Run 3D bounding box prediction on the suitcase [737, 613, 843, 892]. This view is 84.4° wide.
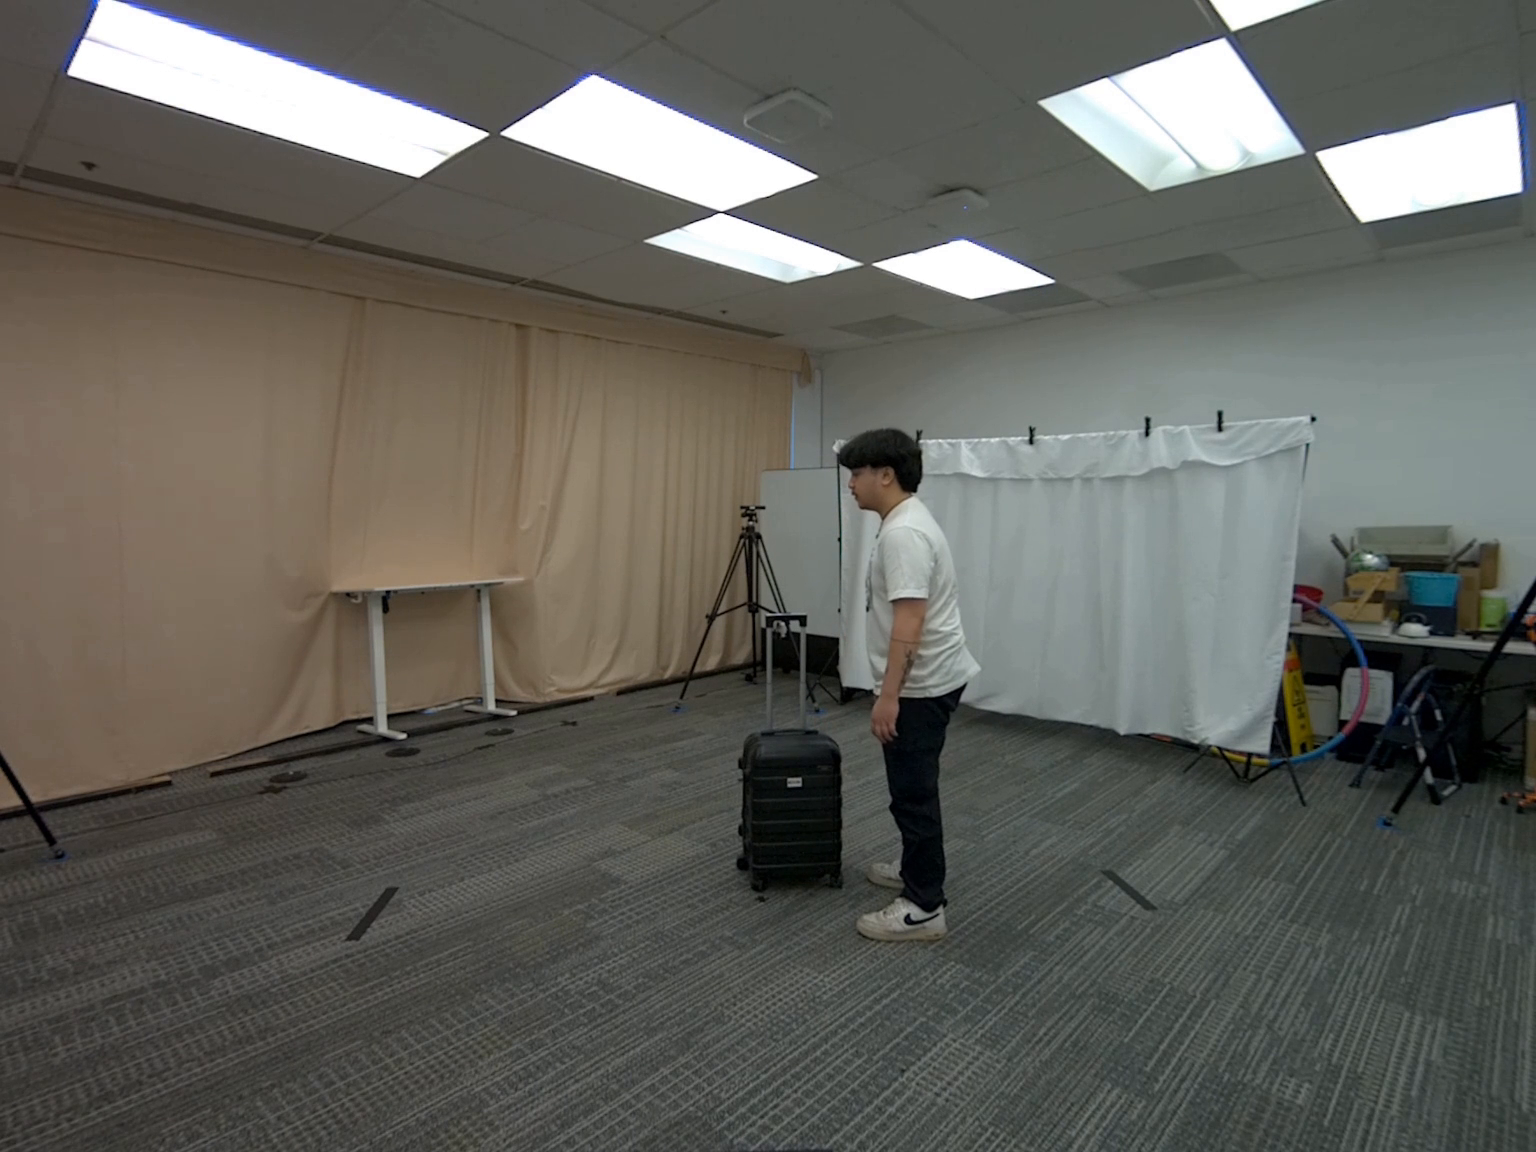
[{"bbox_3d":[0.090,0.656,3.122,0.382,0.975,0.259,0,5,-6],"label":"suitcase"}]
